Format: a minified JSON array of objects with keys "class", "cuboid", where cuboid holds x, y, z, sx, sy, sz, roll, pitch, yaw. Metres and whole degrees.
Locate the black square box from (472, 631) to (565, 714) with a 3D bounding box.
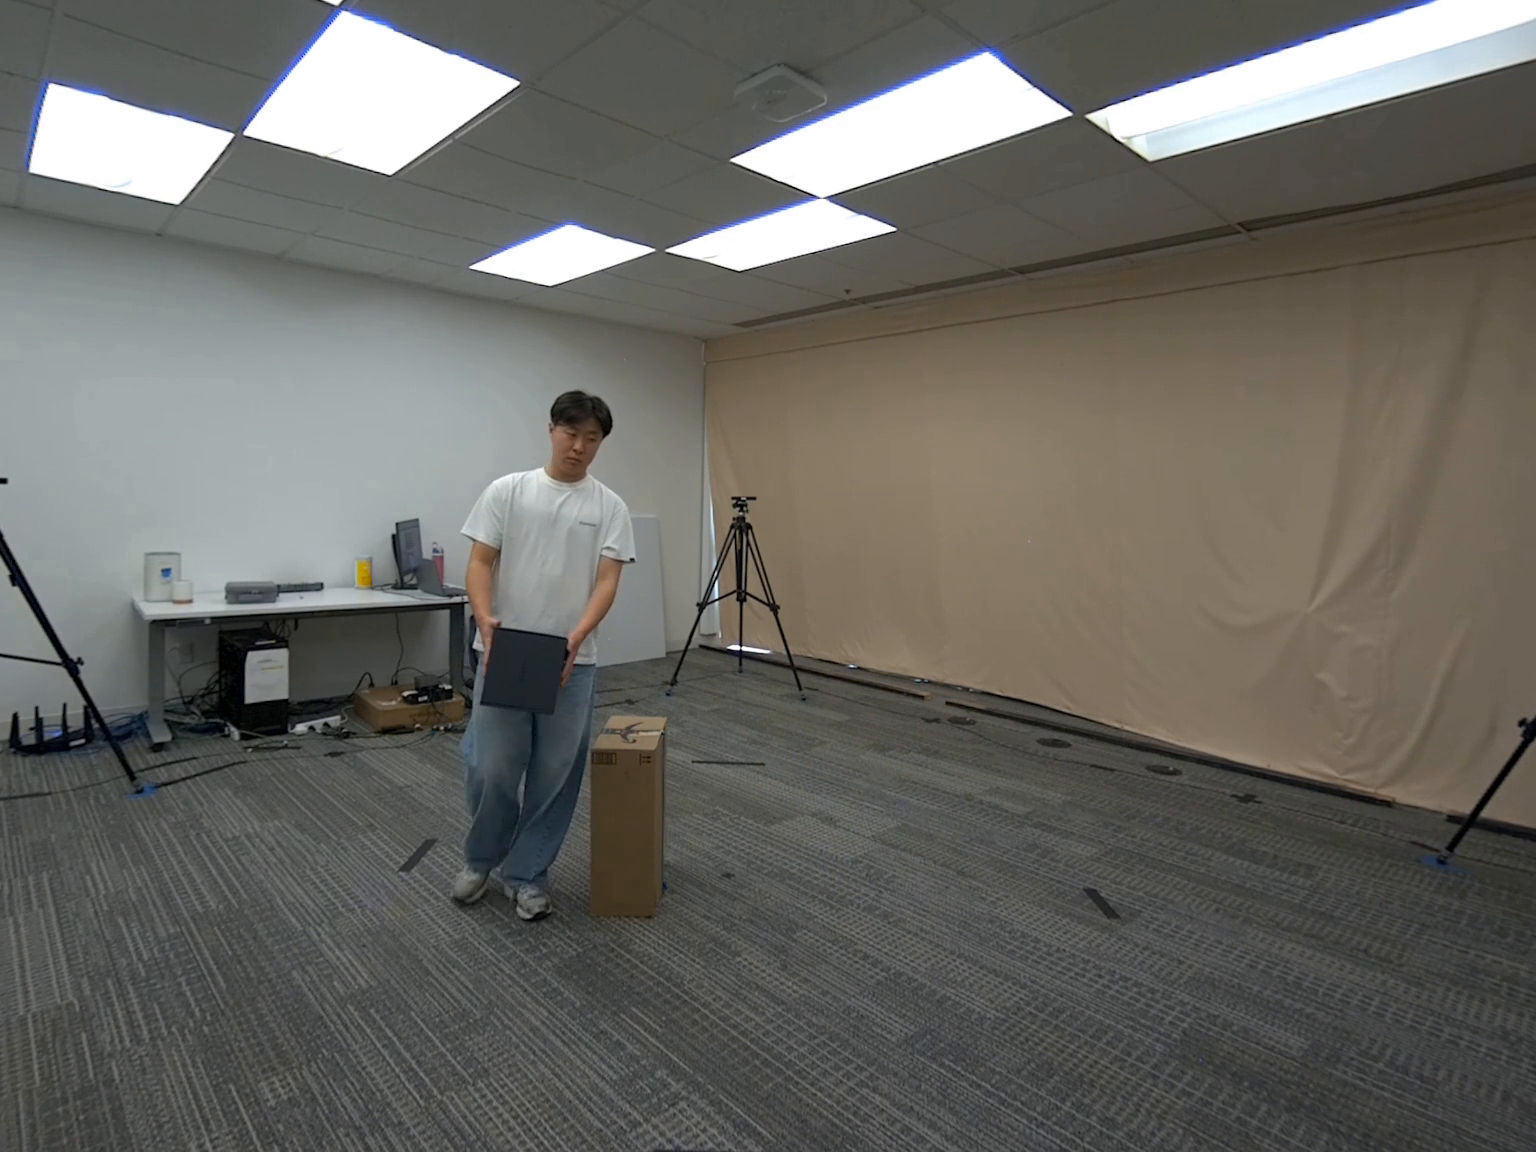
[{"class":"black square box","cuboid":[-0.738,0.297,2.519,0.215,0.229,0.156,11,-11,-10]}]
